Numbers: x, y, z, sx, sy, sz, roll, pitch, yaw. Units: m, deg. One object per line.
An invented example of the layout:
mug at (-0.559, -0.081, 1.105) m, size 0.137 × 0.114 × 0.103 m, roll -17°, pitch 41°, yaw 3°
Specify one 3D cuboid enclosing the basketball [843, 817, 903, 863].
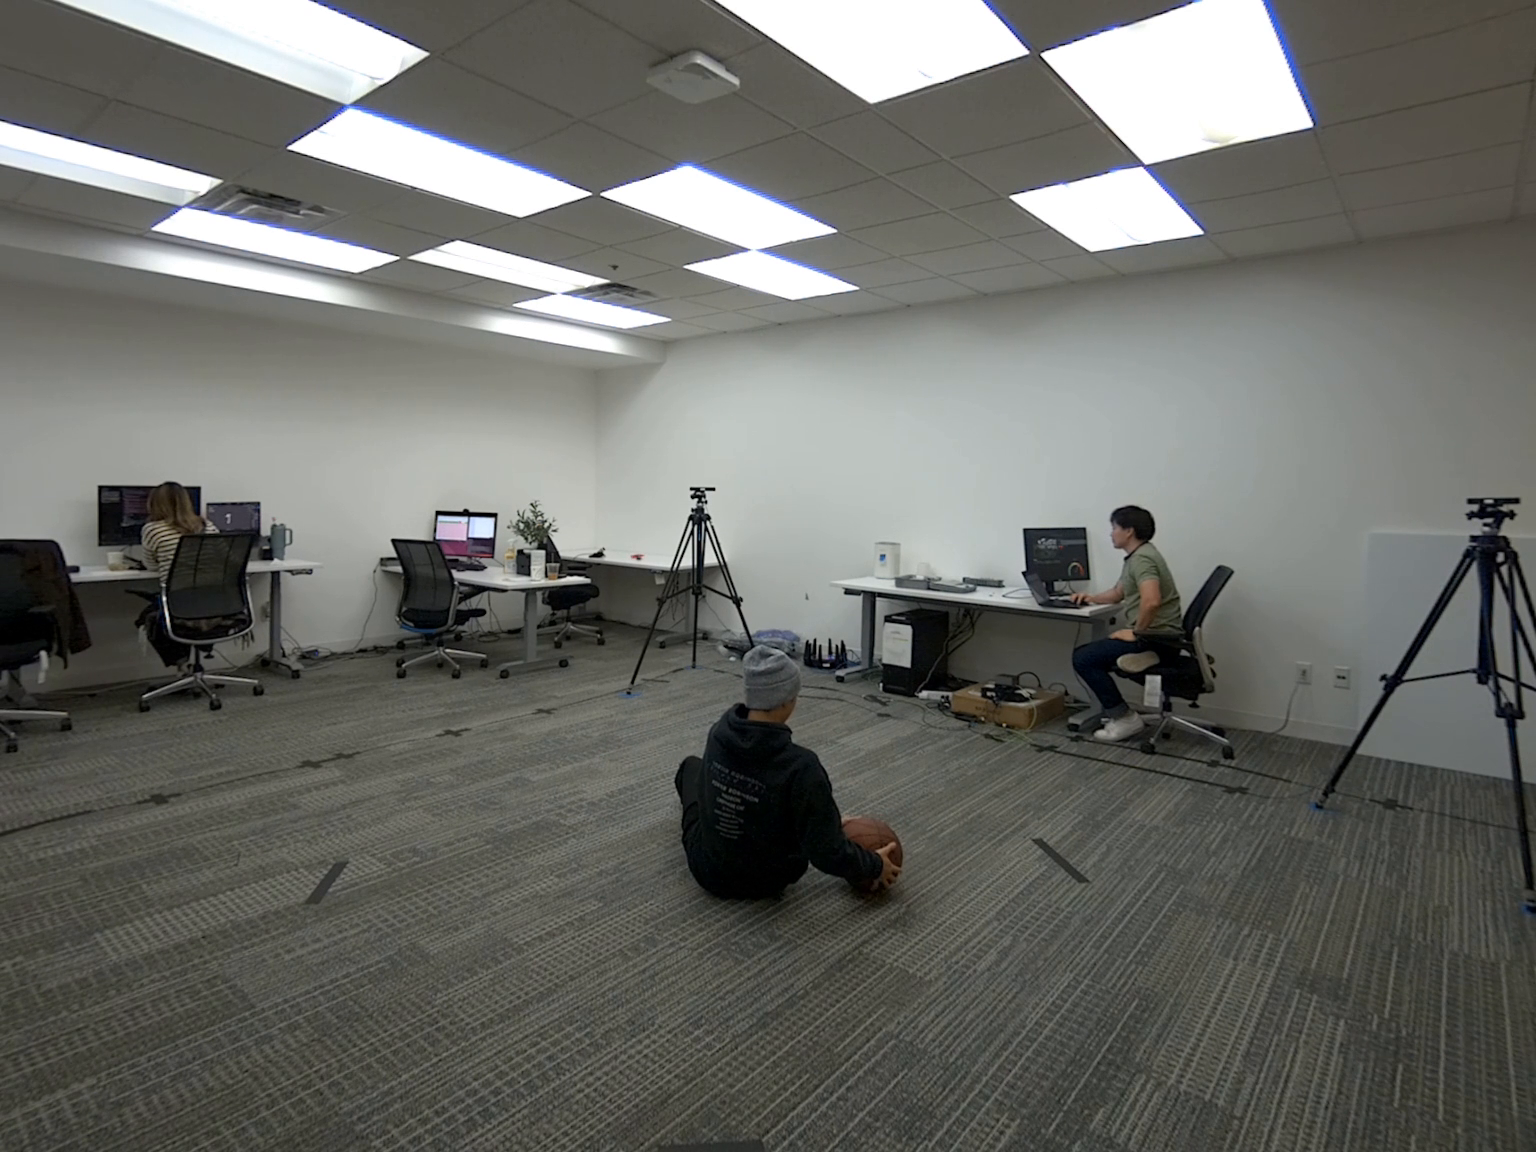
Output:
basketball at (0.343, 0.965, 2.982) m, size 0.235 × 0.235 × 0.237 m, roll 1°, pitch 4°, yaw -2°
